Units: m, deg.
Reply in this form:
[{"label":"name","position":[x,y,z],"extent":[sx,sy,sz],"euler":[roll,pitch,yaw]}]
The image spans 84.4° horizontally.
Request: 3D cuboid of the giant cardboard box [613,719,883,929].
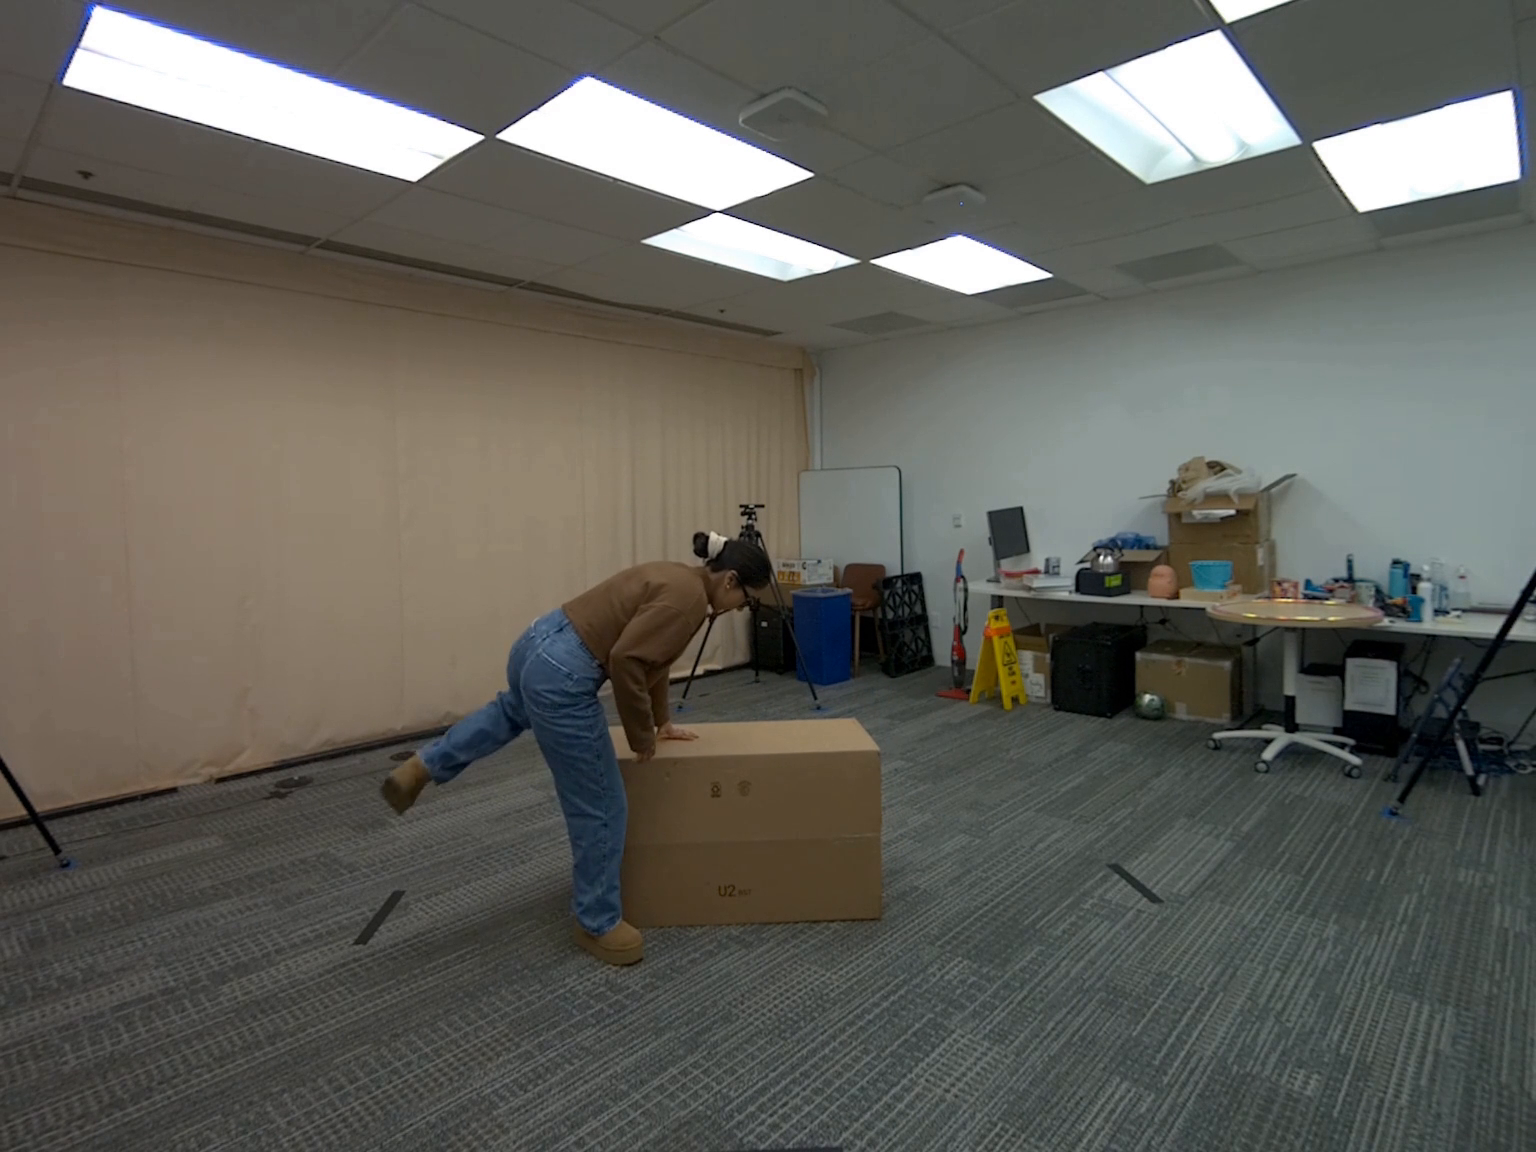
[{"label":"giant cardboard box","position":[-0.148,0.856,2.988],"extent":[1.026,0.582,0.449],"euler":[-1,5,-2]}]
